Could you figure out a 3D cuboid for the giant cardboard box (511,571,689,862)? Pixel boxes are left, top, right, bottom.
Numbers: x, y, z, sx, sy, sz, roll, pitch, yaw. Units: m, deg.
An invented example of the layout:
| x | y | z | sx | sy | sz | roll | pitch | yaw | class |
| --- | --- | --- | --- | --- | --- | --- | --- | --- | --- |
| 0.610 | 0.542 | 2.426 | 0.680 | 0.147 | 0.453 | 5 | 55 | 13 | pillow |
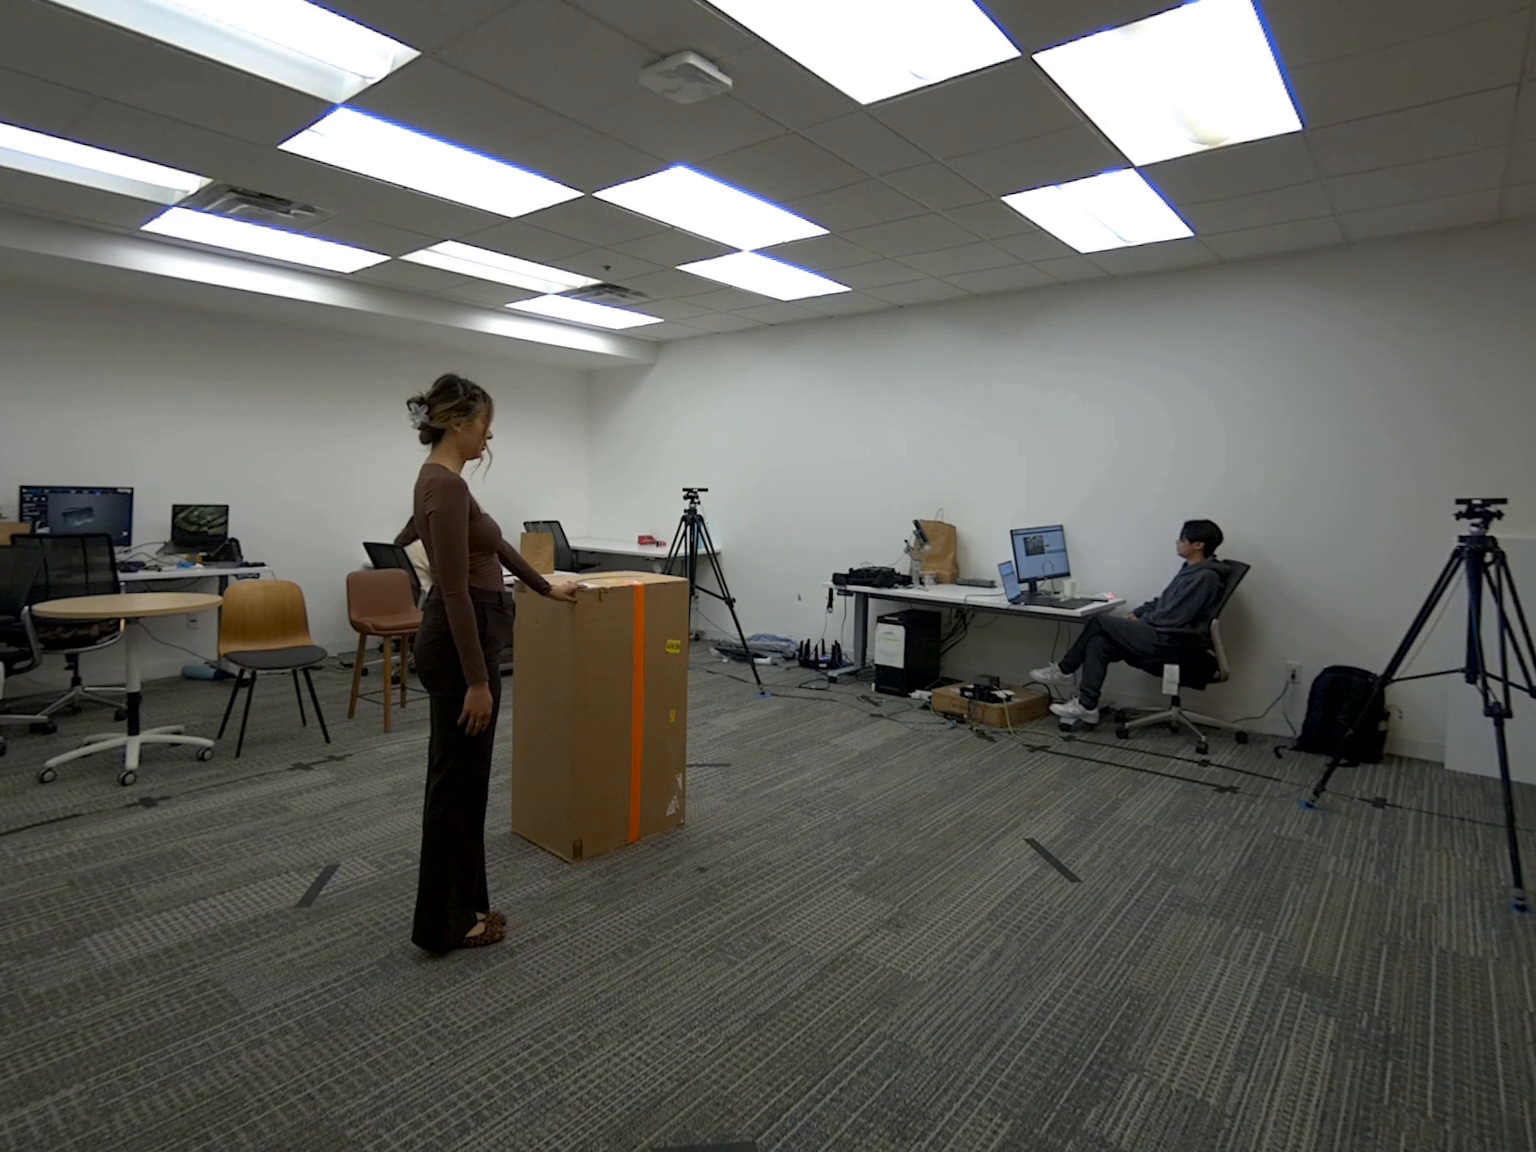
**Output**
| x | y | z | sx | sy | sz | roll | pitch | yaw | class |
| --- | --- | --- | --- | --- | --- | --- | --- | --- | --- |
| -0.688 | 0.519 | 3.455 | 0.462 | 1.024 | 0.566 | 5 | 5 | 45 | giant cardboard box |
